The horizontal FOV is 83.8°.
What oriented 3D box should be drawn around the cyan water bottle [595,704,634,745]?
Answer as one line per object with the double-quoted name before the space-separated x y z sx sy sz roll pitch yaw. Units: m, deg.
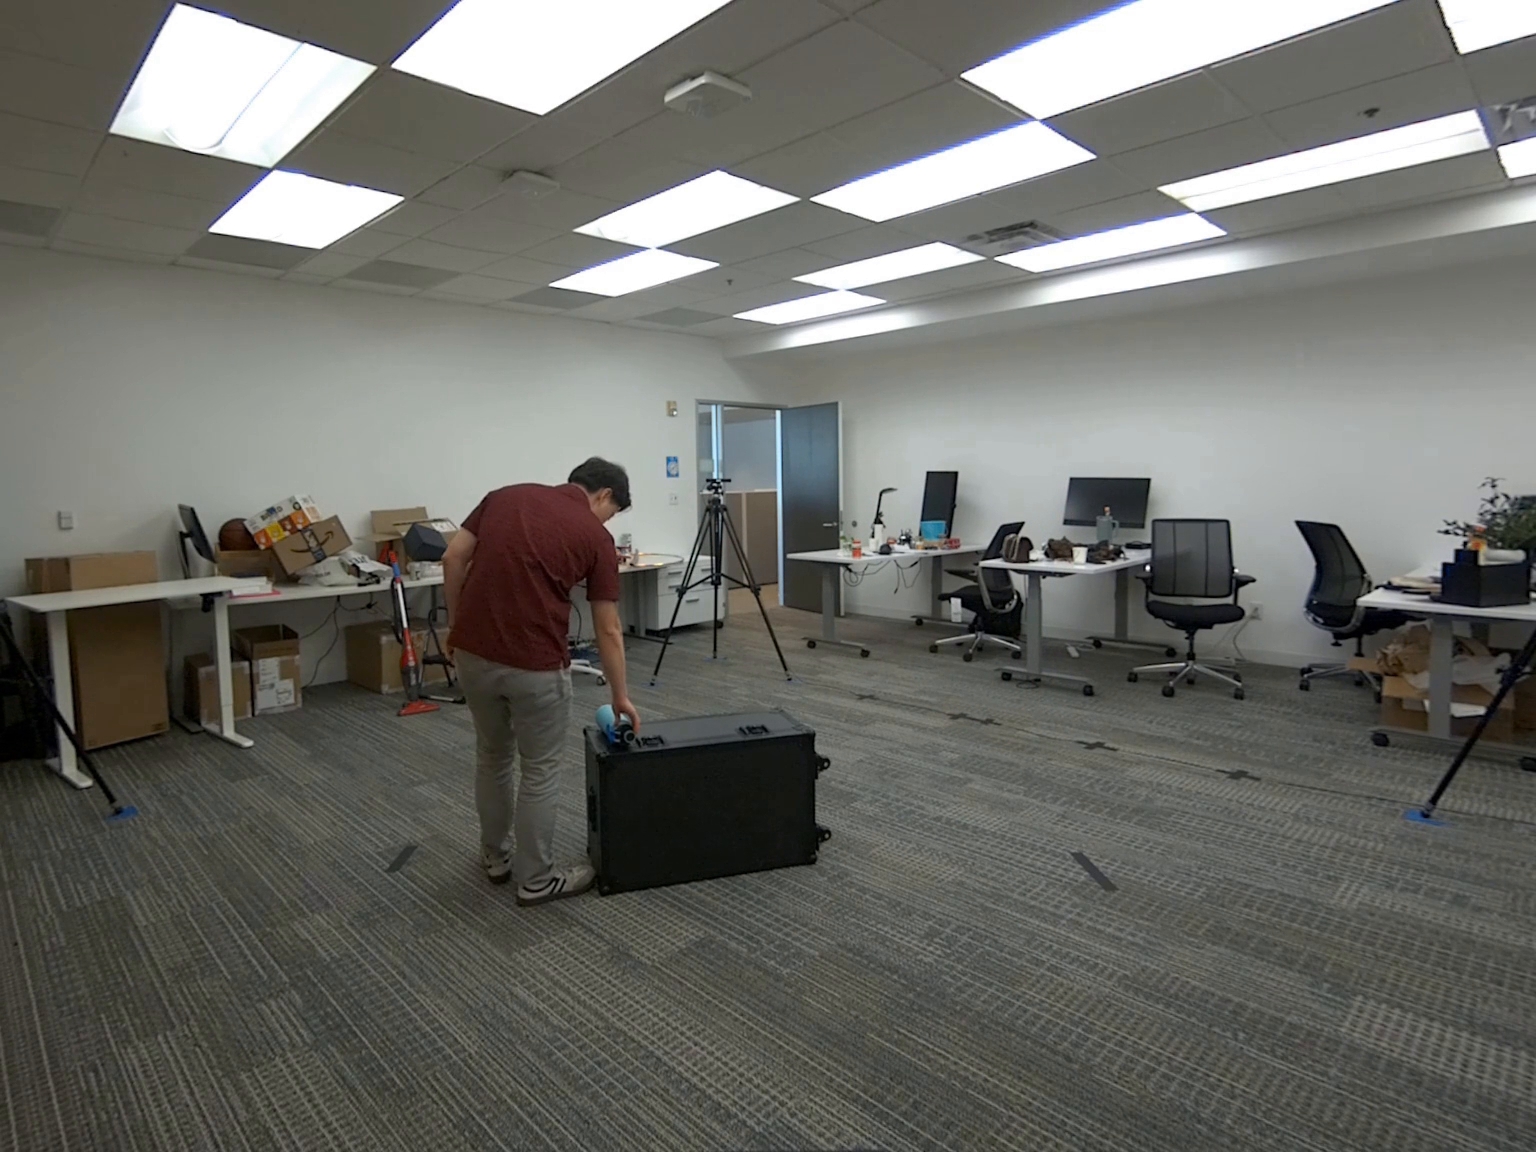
"cyan water bottle" -0.540 0.527 3.040 0.091 0.092 0.290 -3 8 -20
